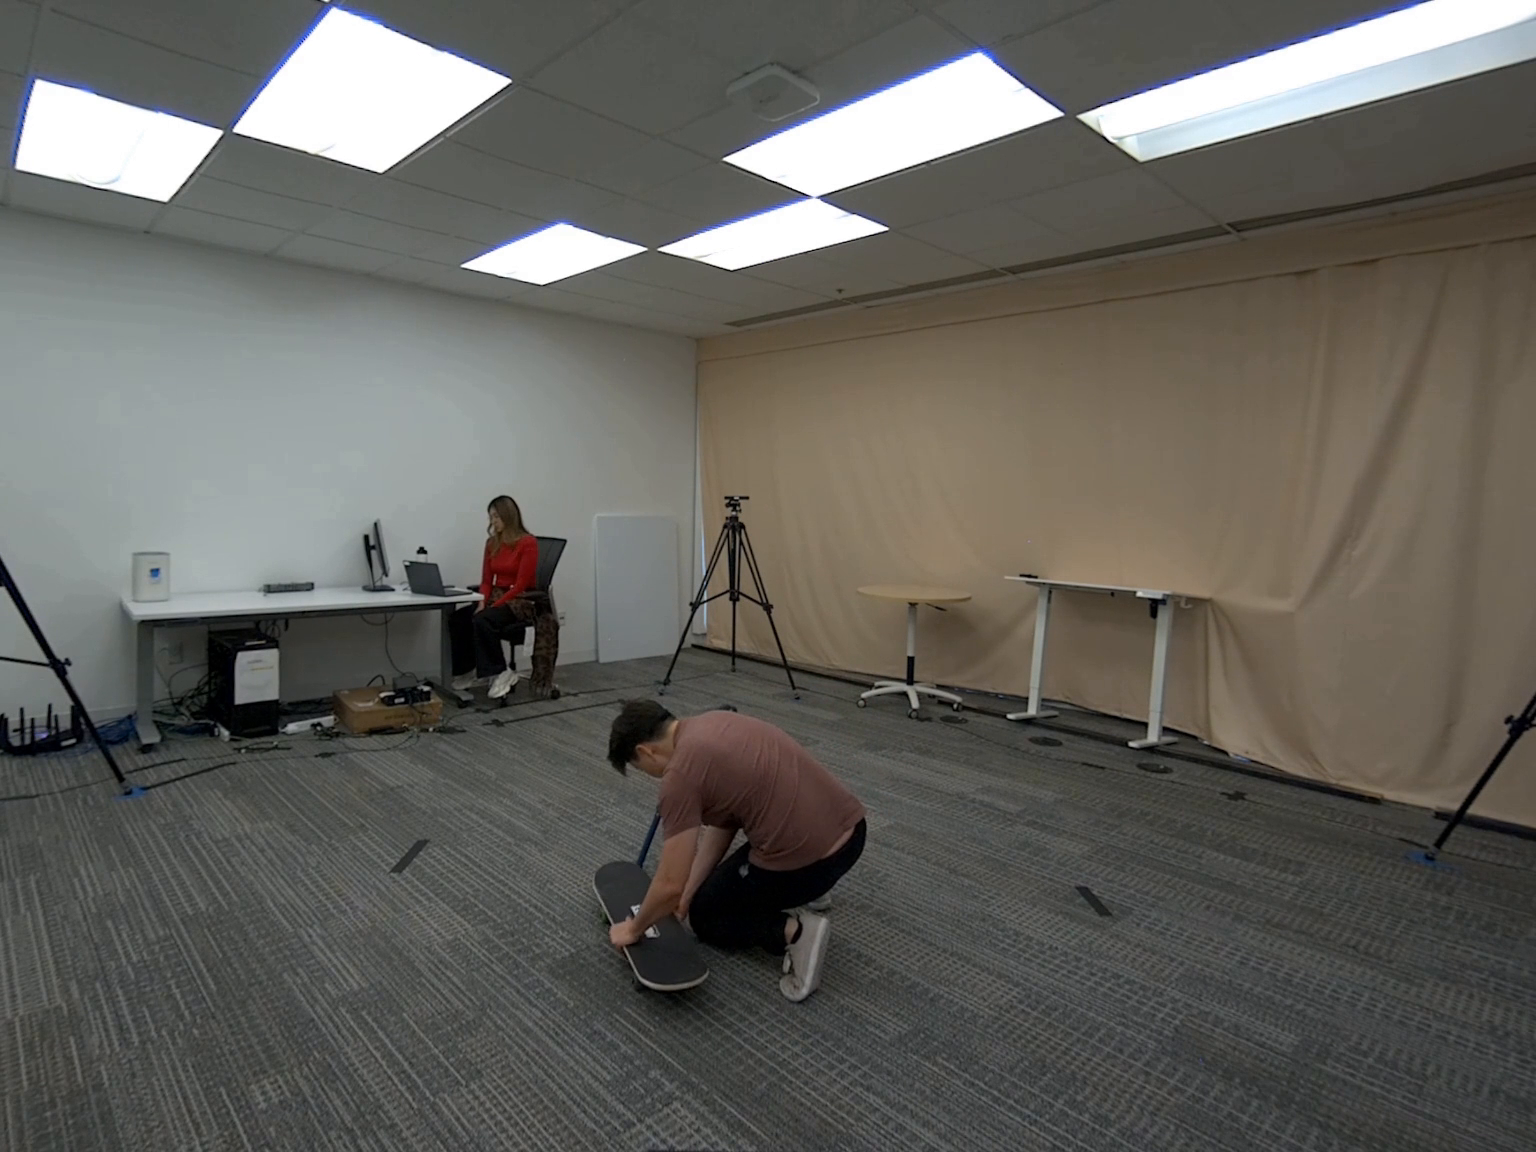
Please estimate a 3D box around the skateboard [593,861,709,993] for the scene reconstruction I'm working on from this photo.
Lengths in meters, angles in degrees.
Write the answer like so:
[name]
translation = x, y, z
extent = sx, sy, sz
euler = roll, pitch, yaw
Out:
[skateboard]
translation = -0.378, 1.084, 2.587
extent = 0.190, 0.110, 0.801
euler = -4, 6, -24
